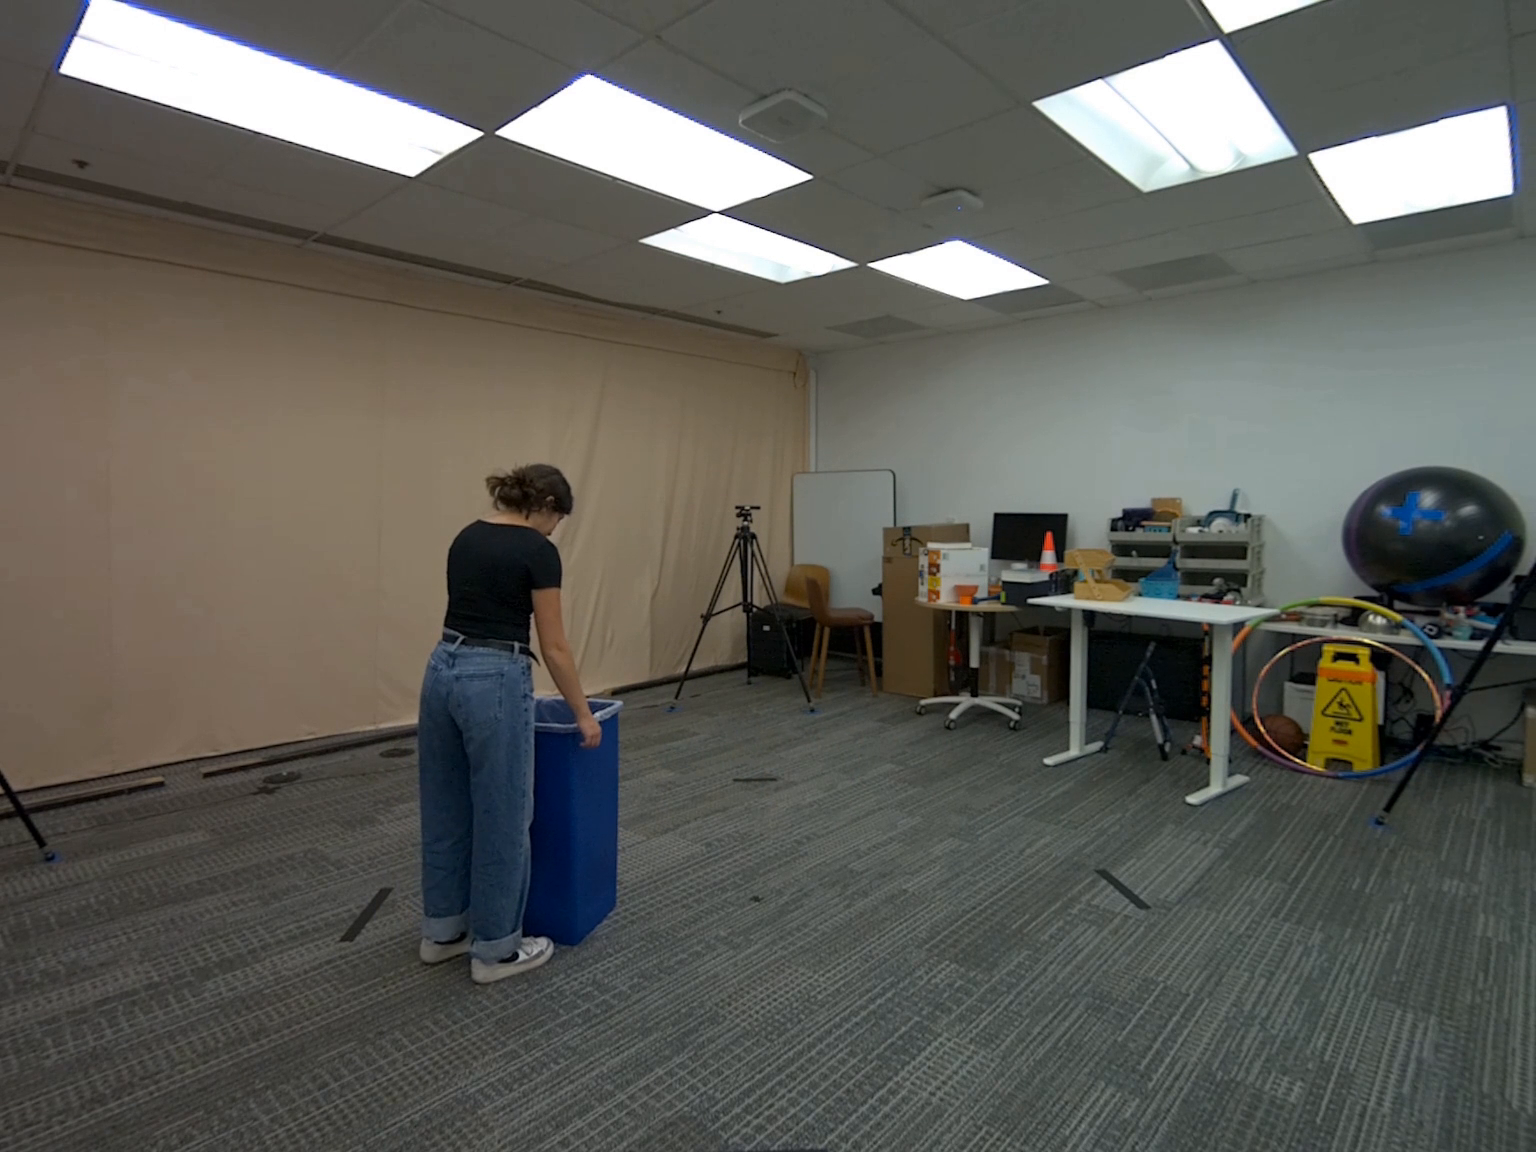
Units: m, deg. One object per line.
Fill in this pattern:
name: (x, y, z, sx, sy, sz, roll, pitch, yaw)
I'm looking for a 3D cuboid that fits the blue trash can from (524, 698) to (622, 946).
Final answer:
blue trash can: (-0.722, 0.806, 2.836, 0.381, 0.712, 0.371, 1, 3, 17)
